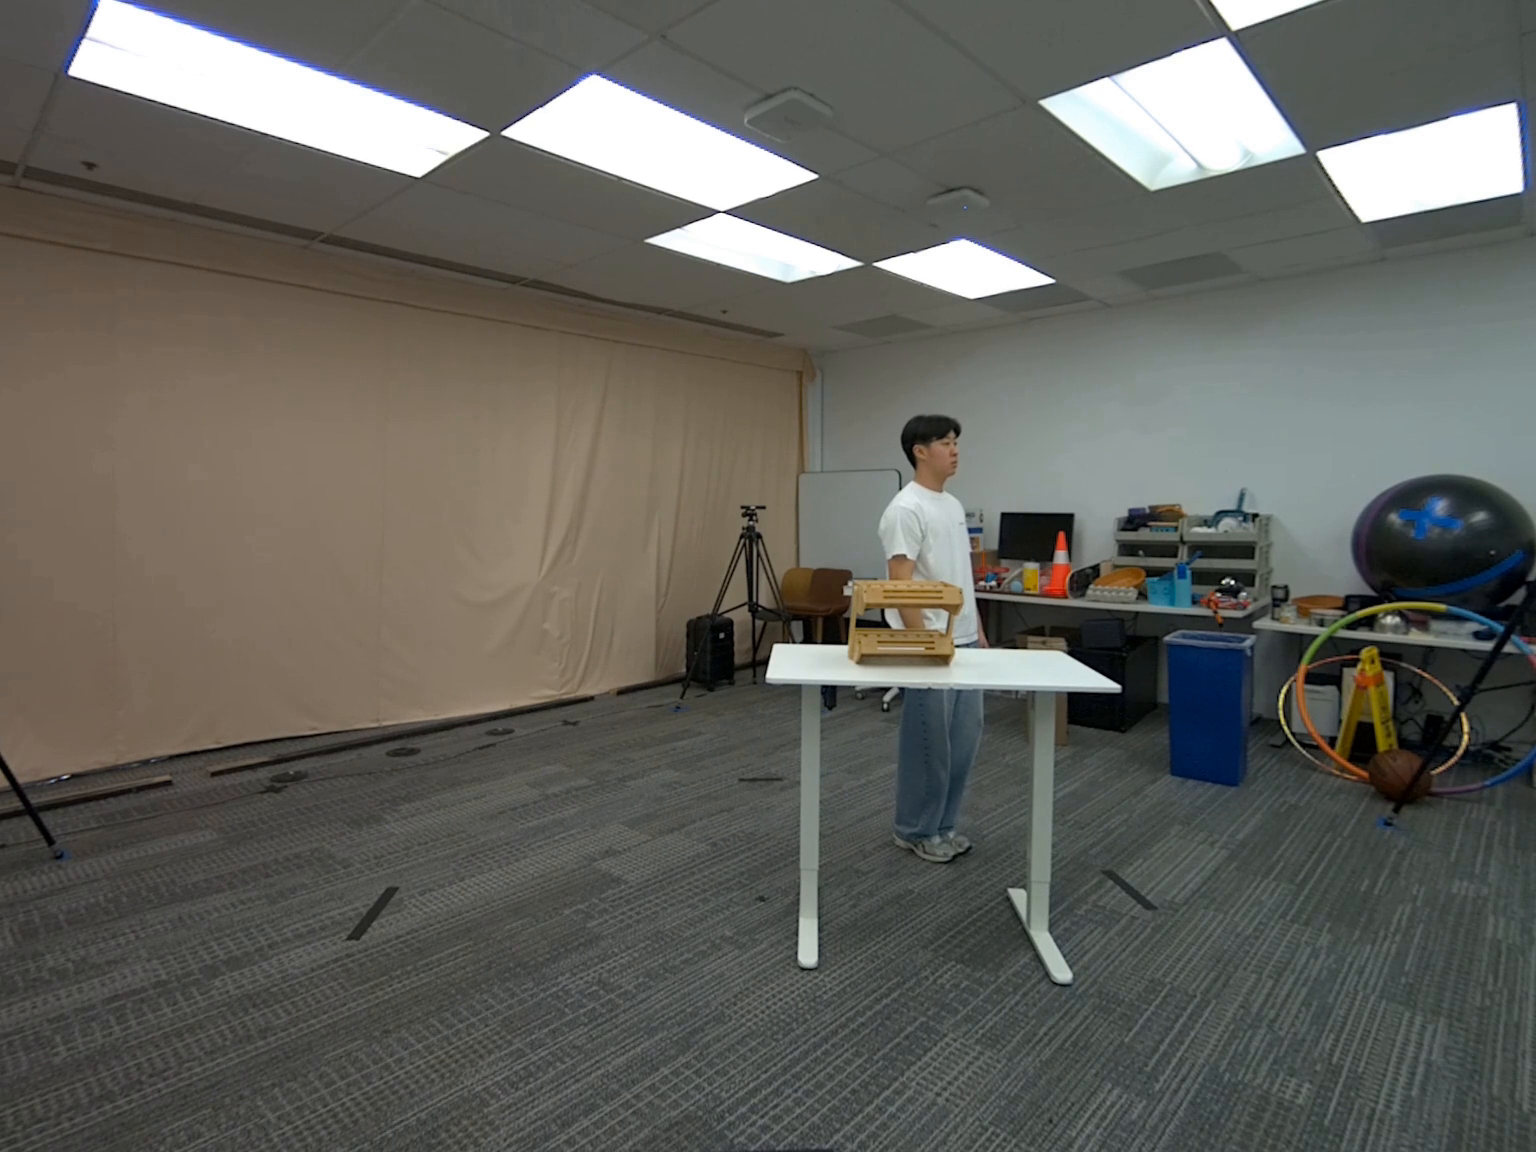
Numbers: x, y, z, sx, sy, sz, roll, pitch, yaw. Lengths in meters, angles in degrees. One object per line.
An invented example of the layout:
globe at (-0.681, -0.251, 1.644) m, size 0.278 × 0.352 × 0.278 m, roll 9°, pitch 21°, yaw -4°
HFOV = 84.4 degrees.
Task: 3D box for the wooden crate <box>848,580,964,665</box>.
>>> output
wooden crate at (0.436, 0.164, 2.677) m, size 0.325 × 0.273 × 0.302 m, roll 2°, pitch 4°, yaw 2°
